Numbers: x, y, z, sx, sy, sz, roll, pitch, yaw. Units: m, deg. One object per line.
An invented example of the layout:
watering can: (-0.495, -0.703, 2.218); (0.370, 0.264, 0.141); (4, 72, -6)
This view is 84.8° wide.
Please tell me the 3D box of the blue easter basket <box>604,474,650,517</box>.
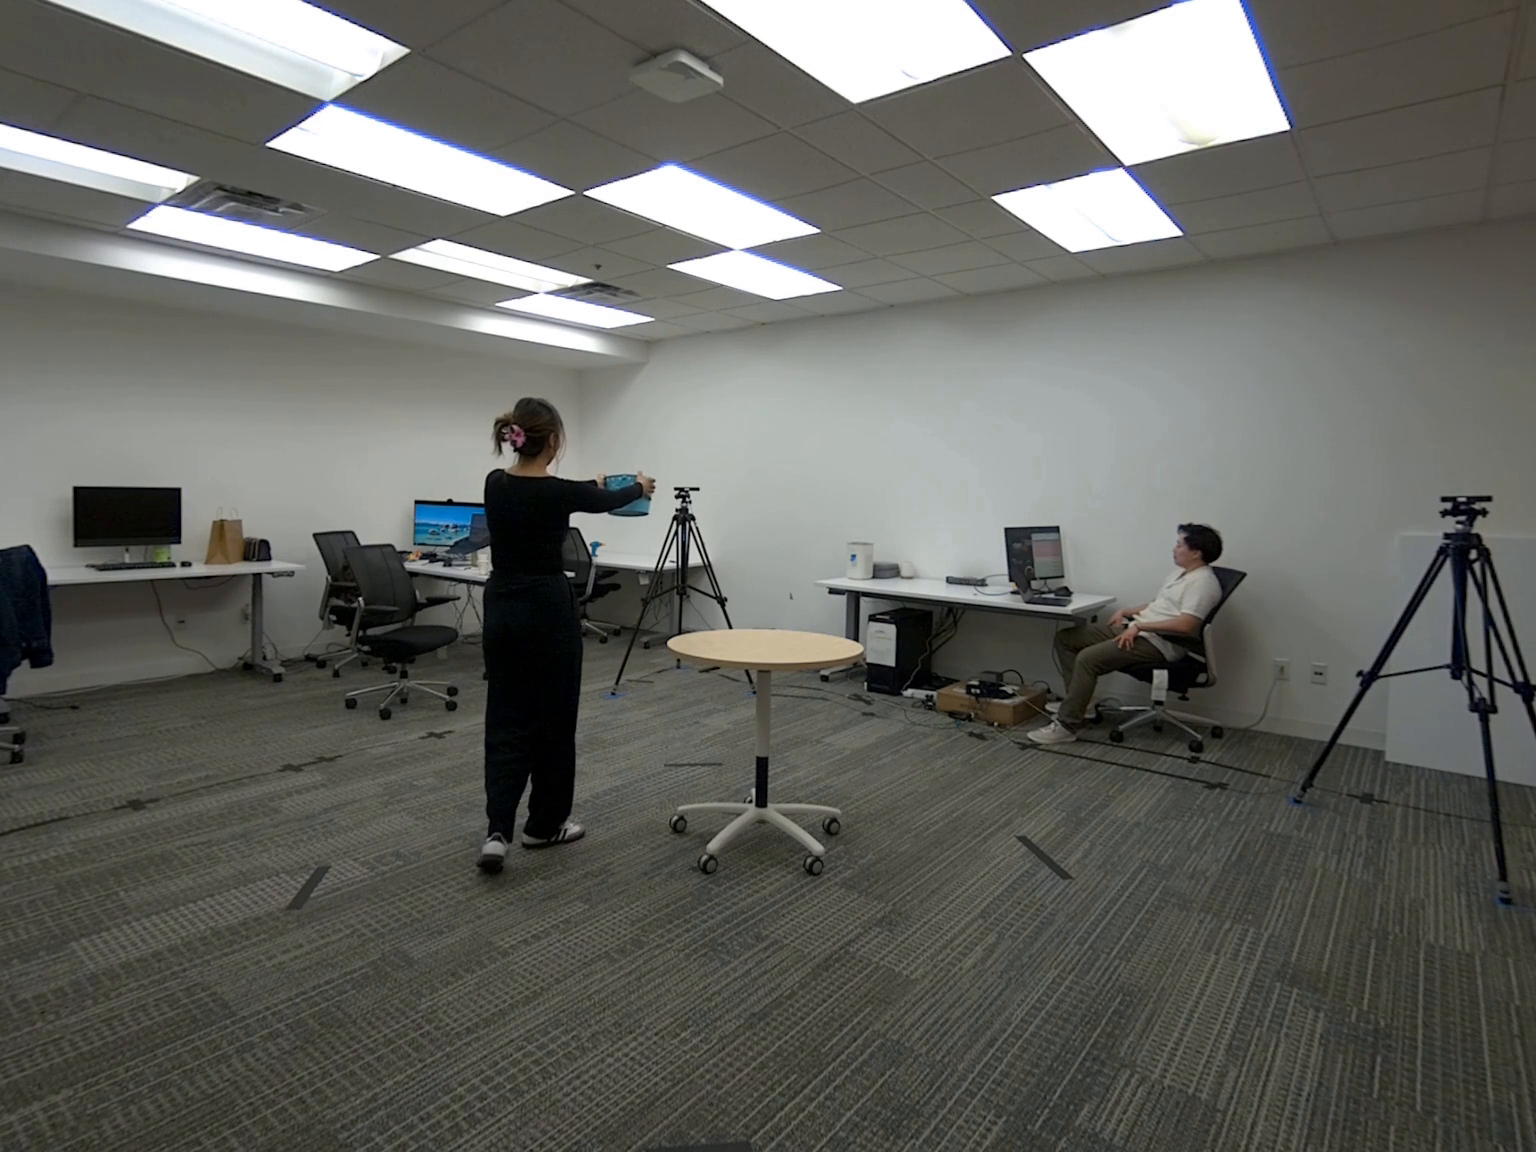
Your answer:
blue easter basket: (-0.637, -0.355, 3.749); (0.243, 0.156, 0.243); (0, -3, -2)
